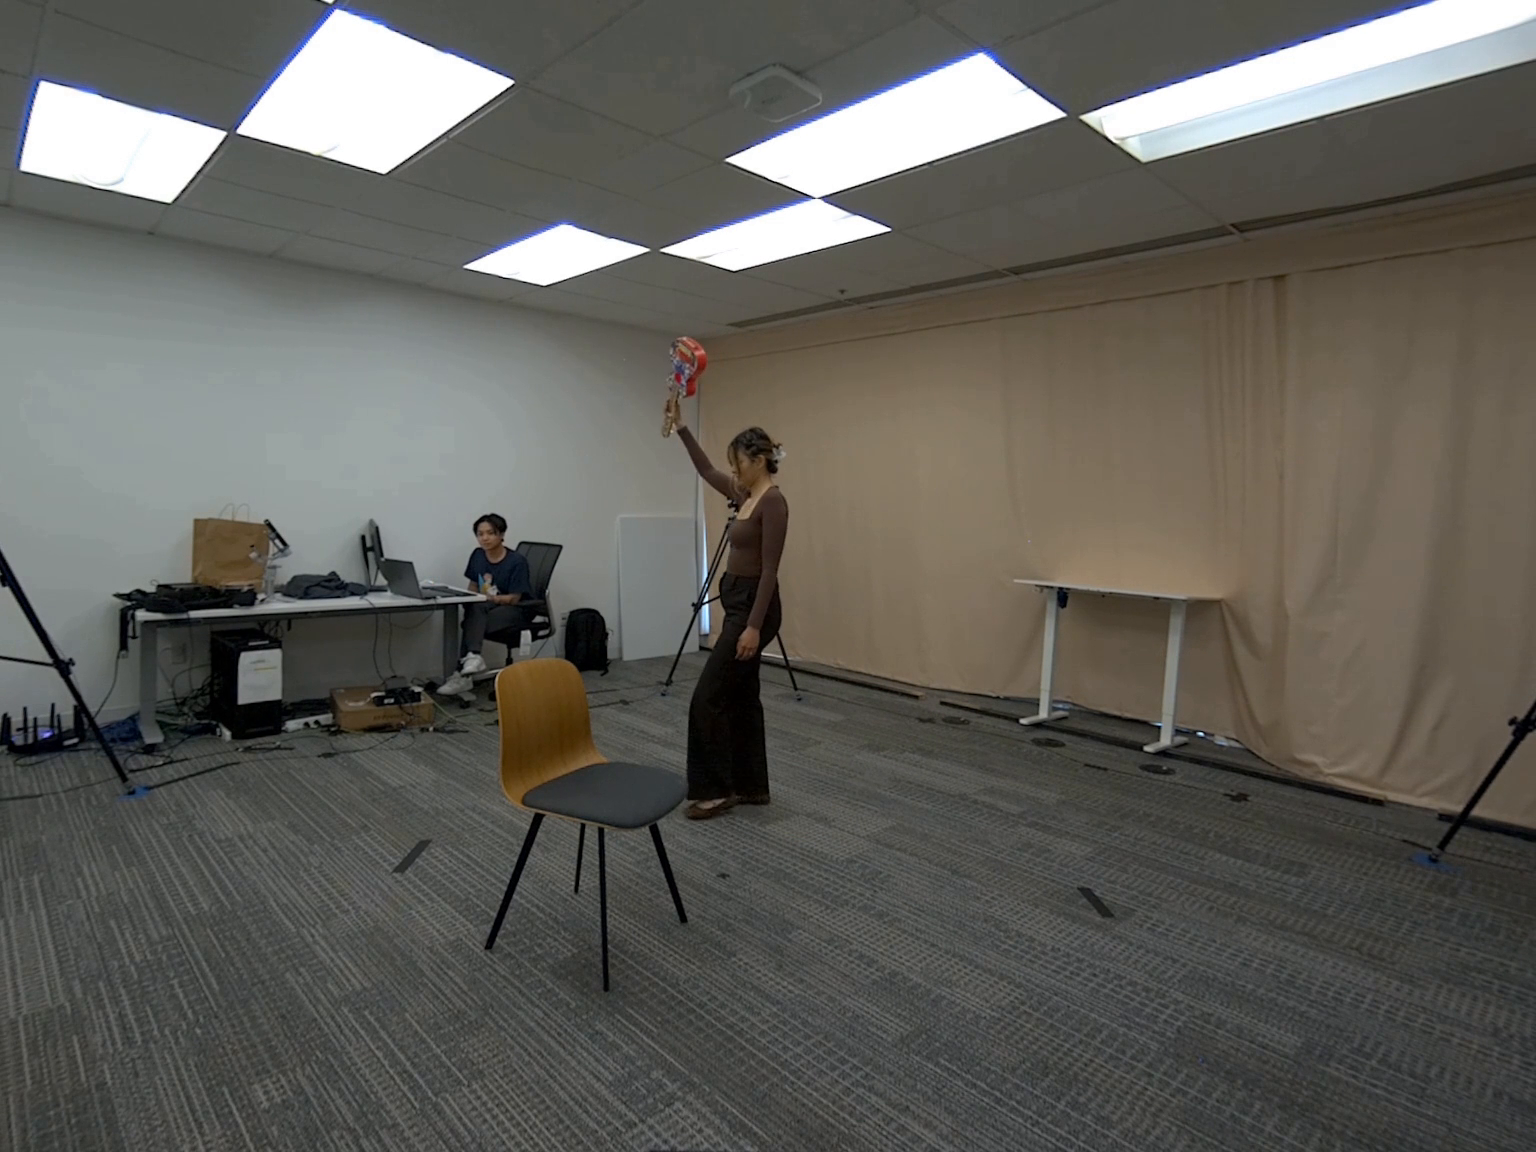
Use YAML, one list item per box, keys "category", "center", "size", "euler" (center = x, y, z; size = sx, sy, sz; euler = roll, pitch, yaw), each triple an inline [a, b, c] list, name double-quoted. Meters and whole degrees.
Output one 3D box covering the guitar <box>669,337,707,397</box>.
- category: "guitar"
  center: [-0.437, -0.881, 3.927]
  size: [0.070, 0.197, 0.494]
  euler: [-22, -27, -41]
